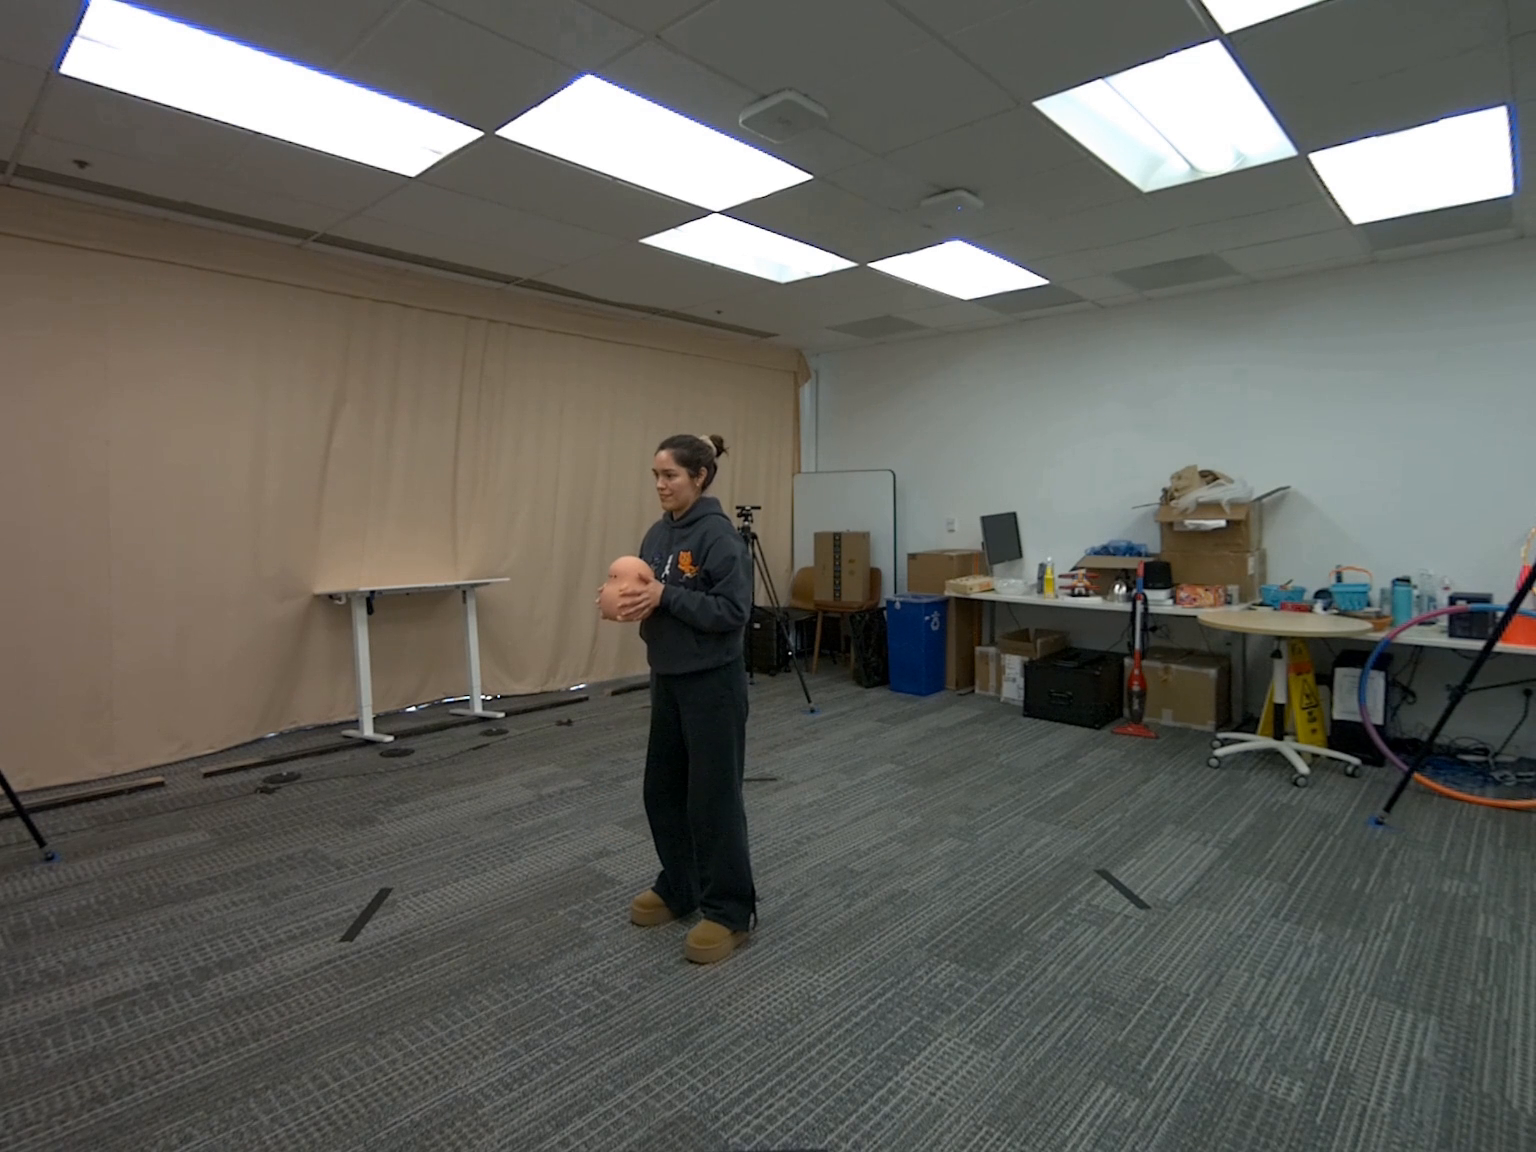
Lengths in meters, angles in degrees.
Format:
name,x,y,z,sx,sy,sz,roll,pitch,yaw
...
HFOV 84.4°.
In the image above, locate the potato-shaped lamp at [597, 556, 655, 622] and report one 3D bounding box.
name,x,y,z,sx,sy,sz,roll,pitch,yaw
potato-shaped lamp,-0.424,0.044,2.618,0.166,0.198,0.170,-5,3,-36
